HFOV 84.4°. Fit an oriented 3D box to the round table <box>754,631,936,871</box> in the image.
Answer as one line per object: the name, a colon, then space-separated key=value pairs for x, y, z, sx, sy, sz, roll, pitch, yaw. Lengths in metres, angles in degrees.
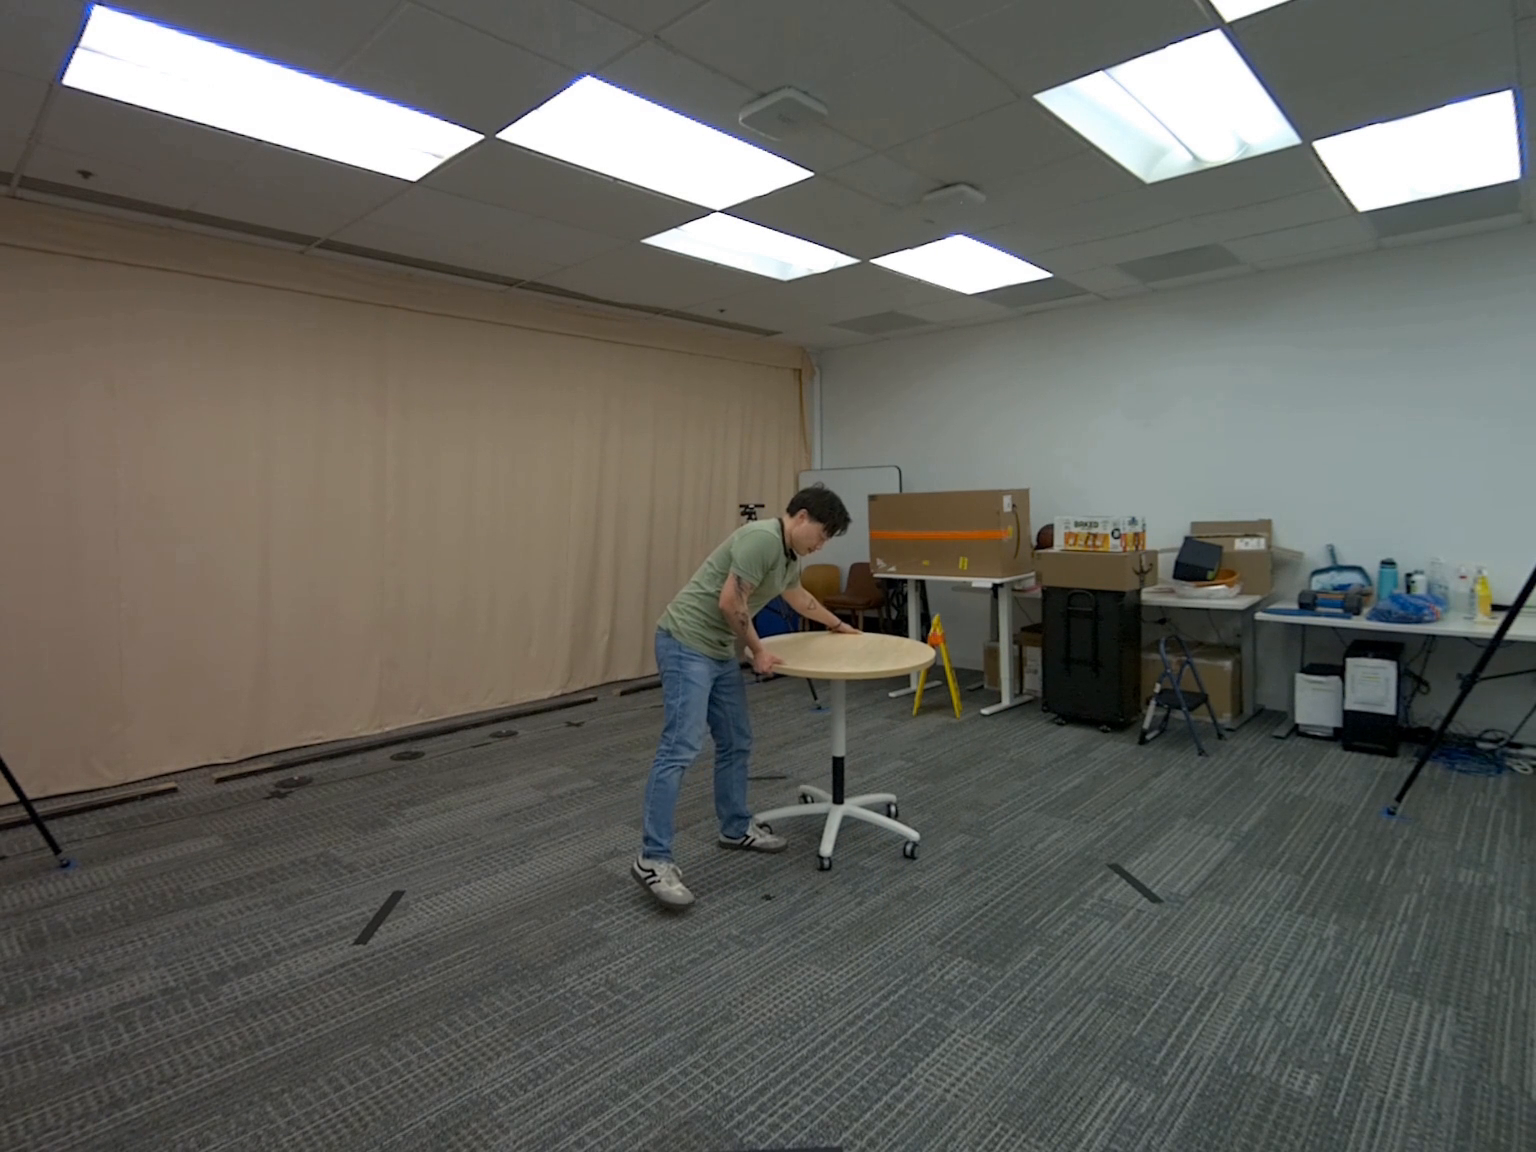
round table: x=0.295 y=0.692 z=3.458 sx=0.763 sy=0.791 sz=0.768 roll=0 pitch=6 yaw=-2
